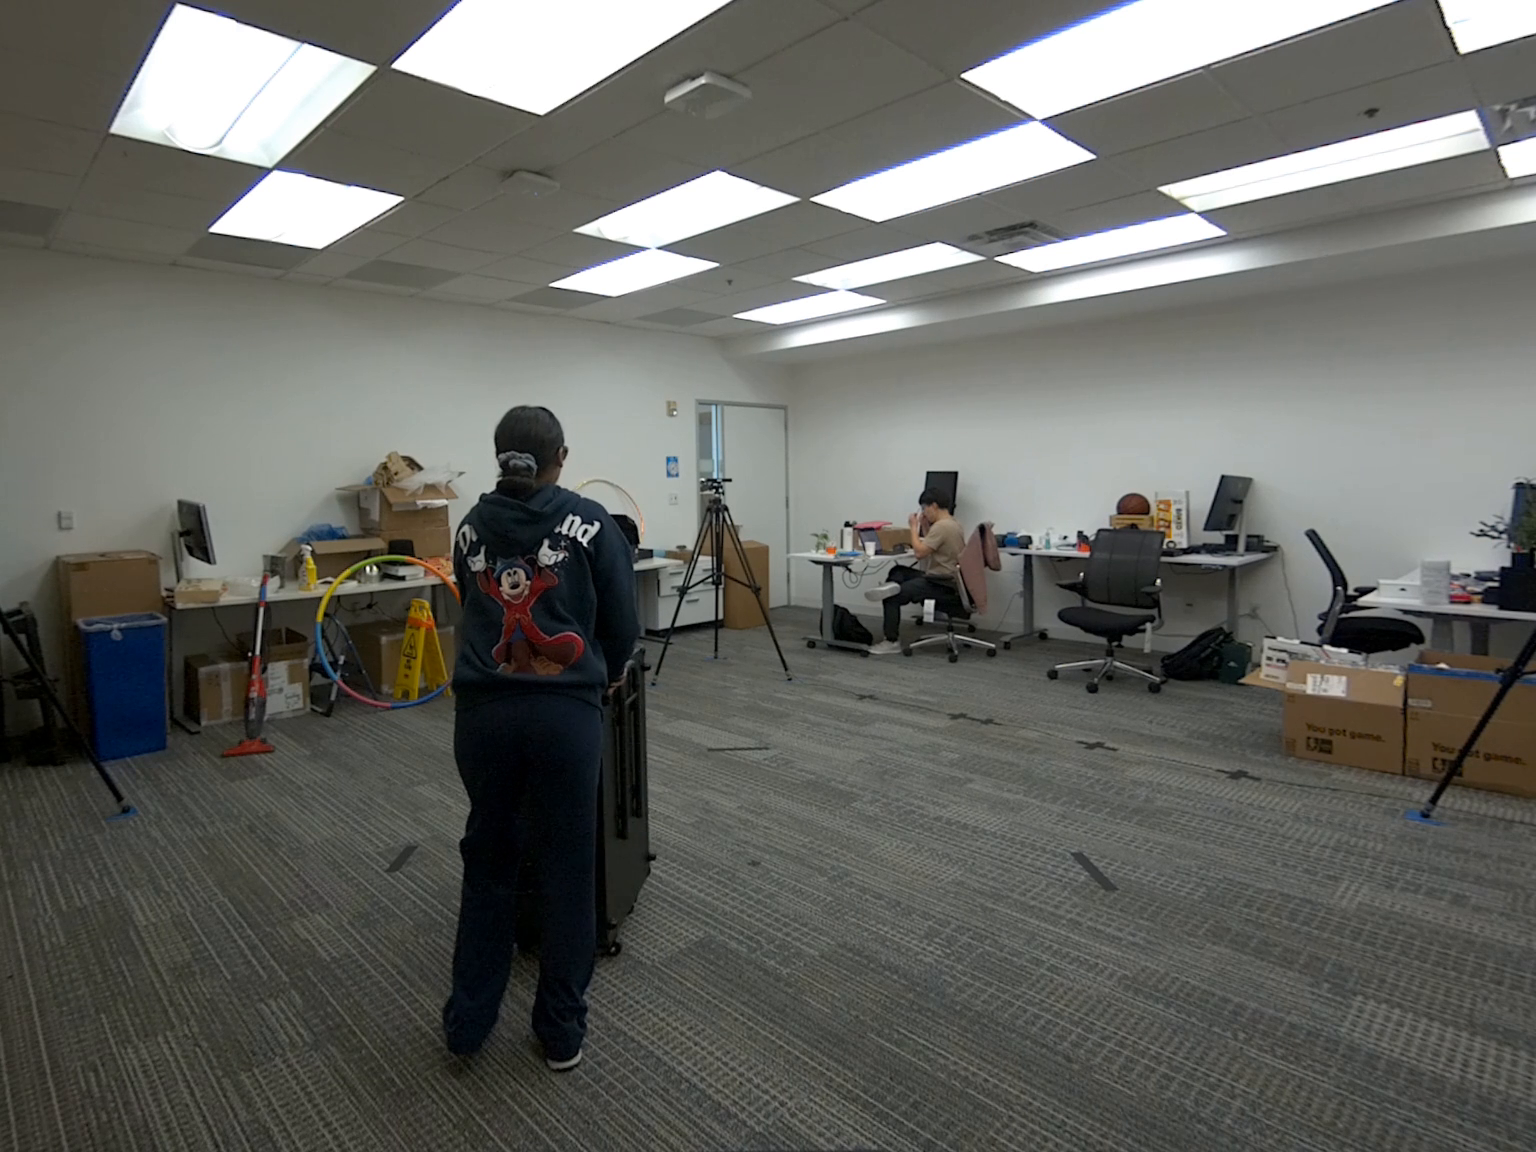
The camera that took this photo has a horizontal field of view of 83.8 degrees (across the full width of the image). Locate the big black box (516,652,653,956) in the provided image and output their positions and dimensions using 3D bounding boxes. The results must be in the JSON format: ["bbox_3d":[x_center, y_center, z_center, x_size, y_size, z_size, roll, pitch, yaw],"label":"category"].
[{"bbox_3d":[-0.593,0.687,2.675,0.400,0.859,0.518,0,4,8],"label":"big black box"}]
